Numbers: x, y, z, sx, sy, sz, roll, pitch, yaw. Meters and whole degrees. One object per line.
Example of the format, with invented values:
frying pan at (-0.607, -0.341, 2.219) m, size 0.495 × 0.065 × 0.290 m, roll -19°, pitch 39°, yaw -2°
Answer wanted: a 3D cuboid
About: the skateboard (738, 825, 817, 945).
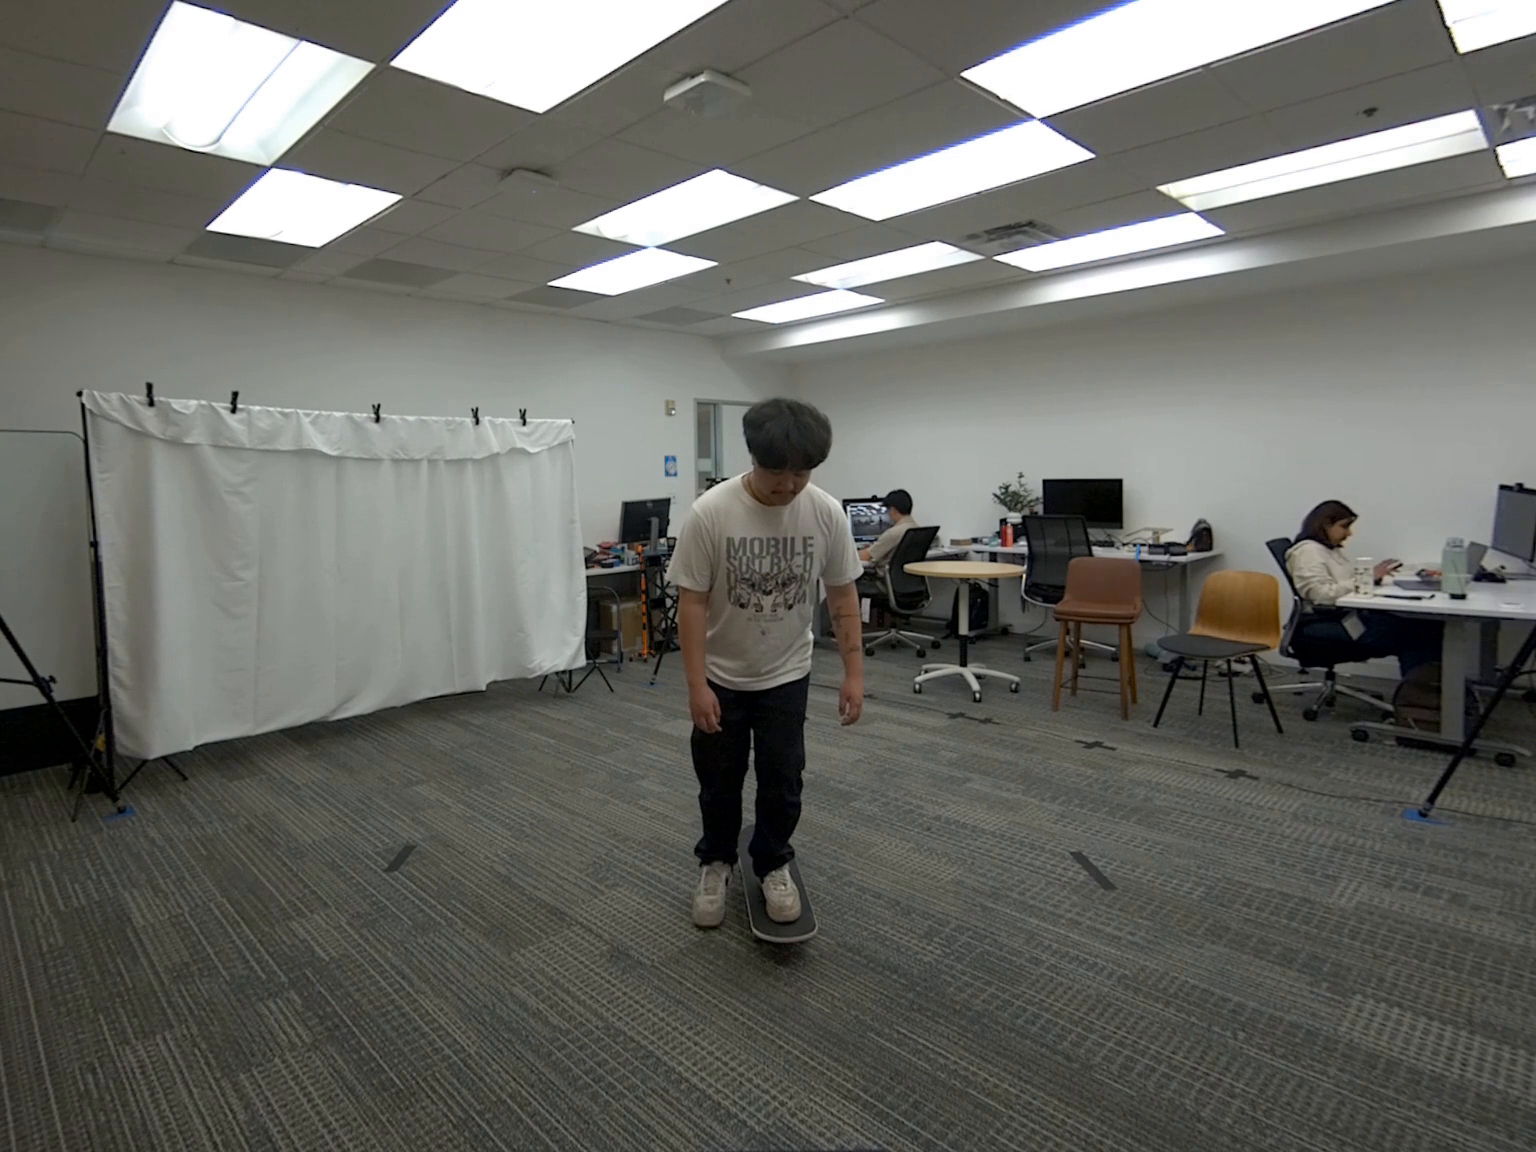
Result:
skateboard at (0.020, 1.016, 2.800) m, size 0.192 × 0.110 × 0.792 m, roll -1°, pitch 6°, yaw -6°
